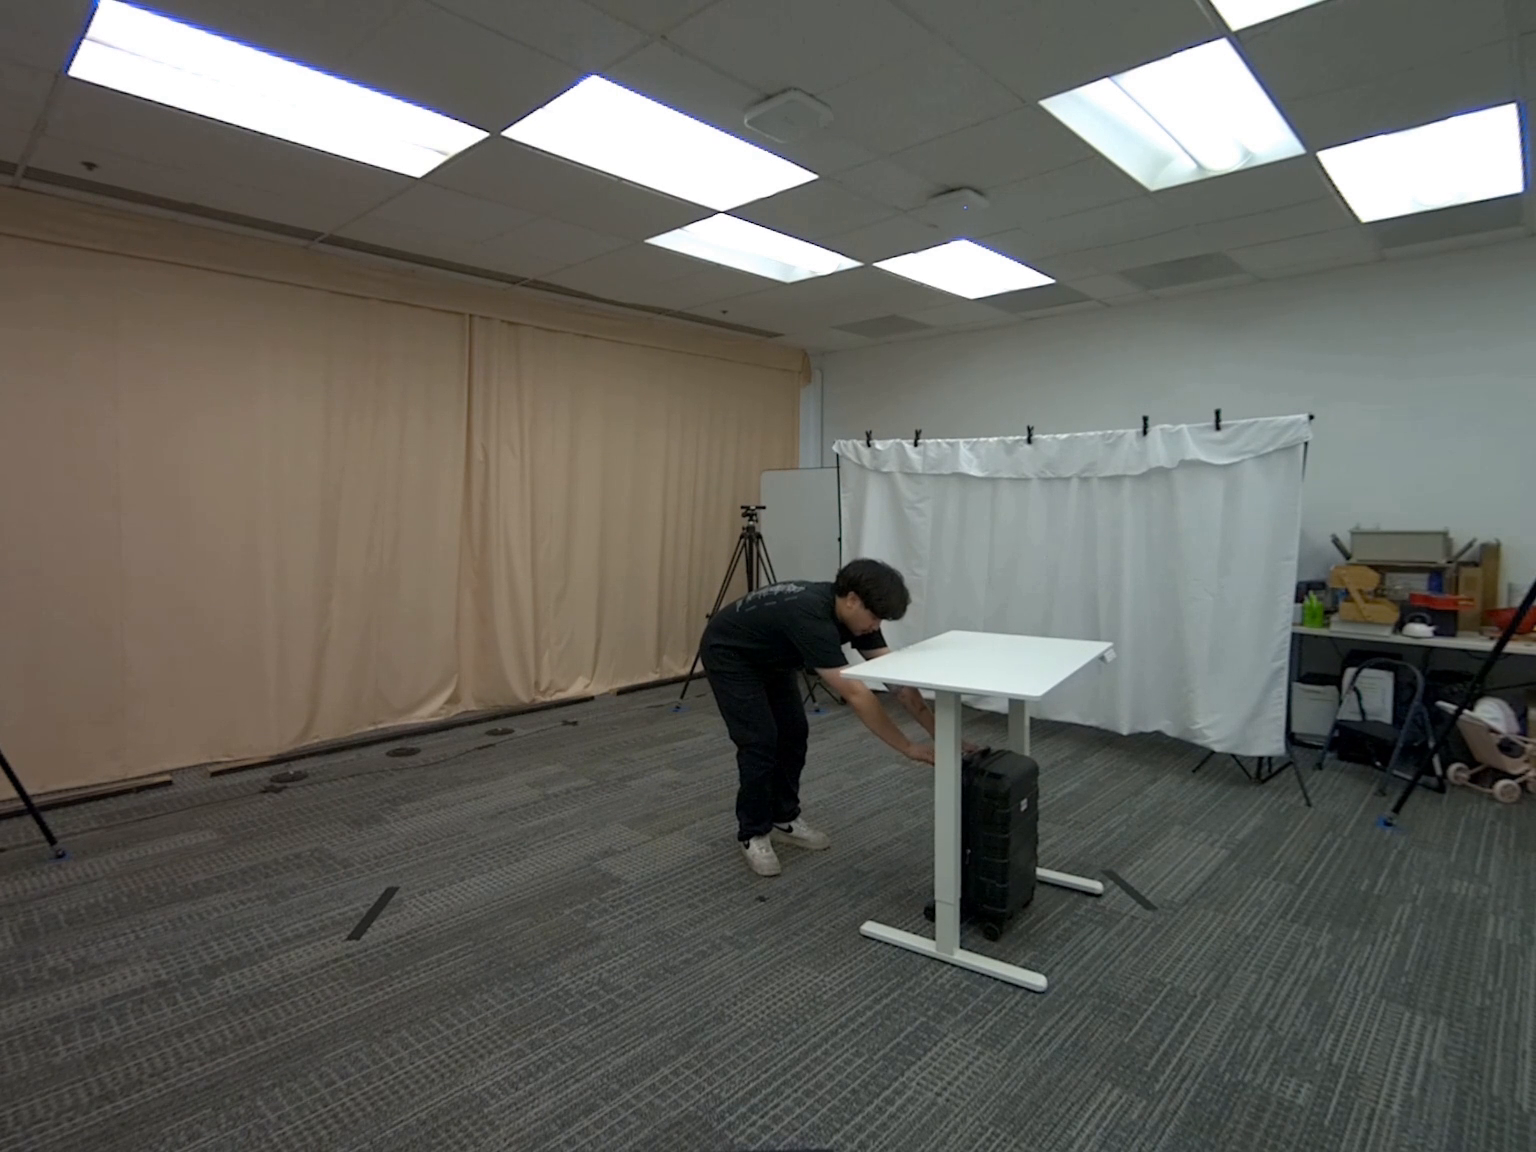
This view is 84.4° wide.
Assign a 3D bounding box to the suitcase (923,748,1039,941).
[{"bbox_3d":[0.757,0.890,2.851,0.256,0.547,0.365,8,8,35],"label":"suitcase"}]
